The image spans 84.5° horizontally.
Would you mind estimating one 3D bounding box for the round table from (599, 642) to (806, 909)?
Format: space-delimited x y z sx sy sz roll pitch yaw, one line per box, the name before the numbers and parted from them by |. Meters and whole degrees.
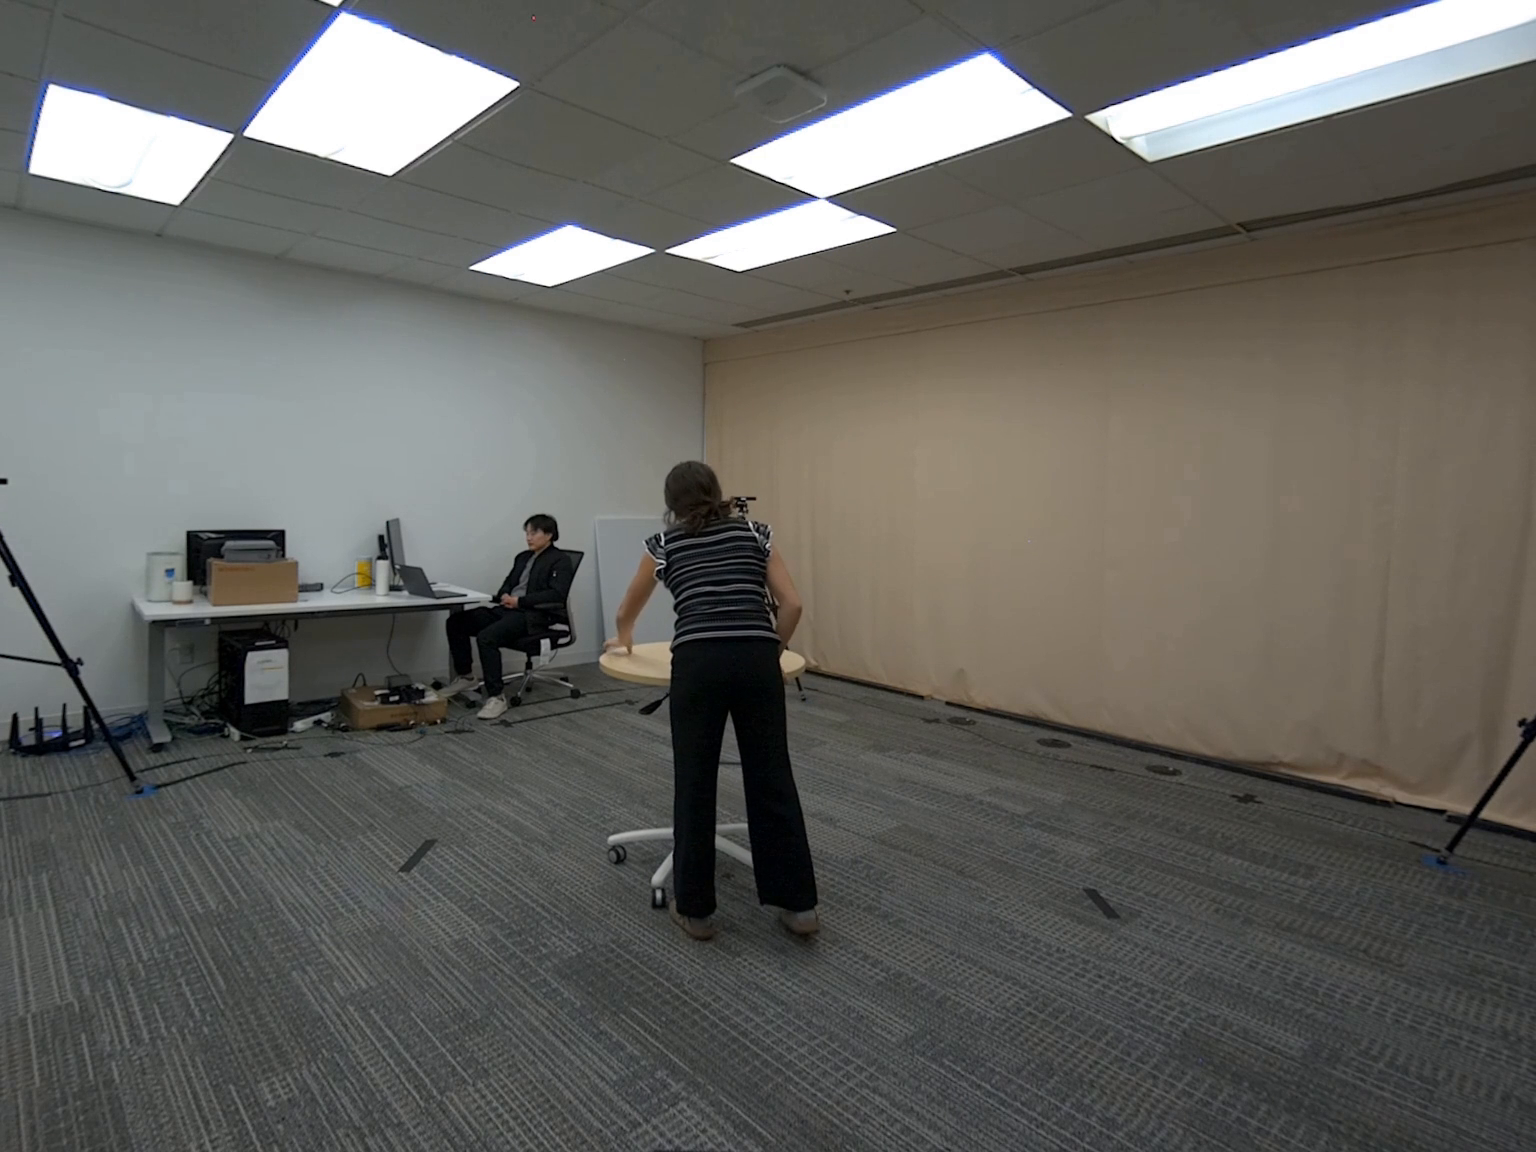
round table | -0.256 0.708 3.172 0.763 0.792 0.766 1 4 -1
